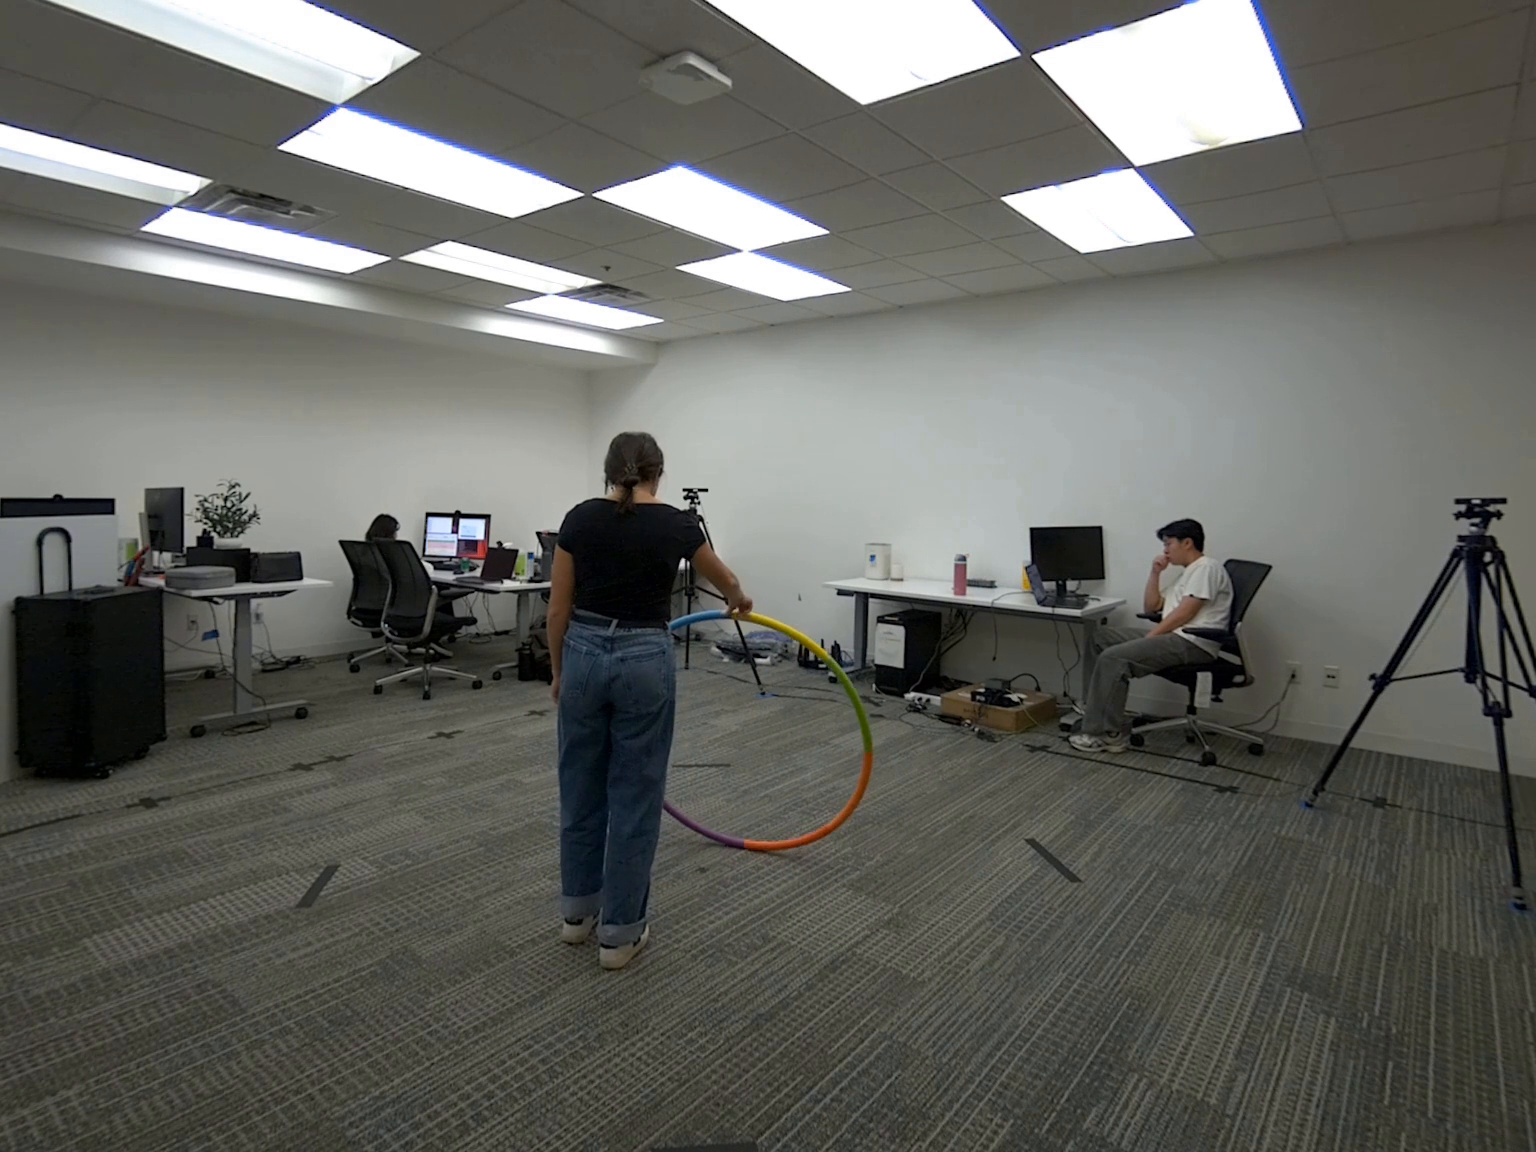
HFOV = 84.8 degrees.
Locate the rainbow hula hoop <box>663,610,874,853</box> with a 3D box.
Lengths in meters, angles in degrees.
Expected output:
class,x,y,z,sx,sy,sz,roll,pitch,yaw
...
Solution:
class,x,y,z,sx,sy,sz,roll,pitch,yaw
rainbow hula hoop,-0.104,0.583,3.183,0.998,0.963,0.035,3,16,19
